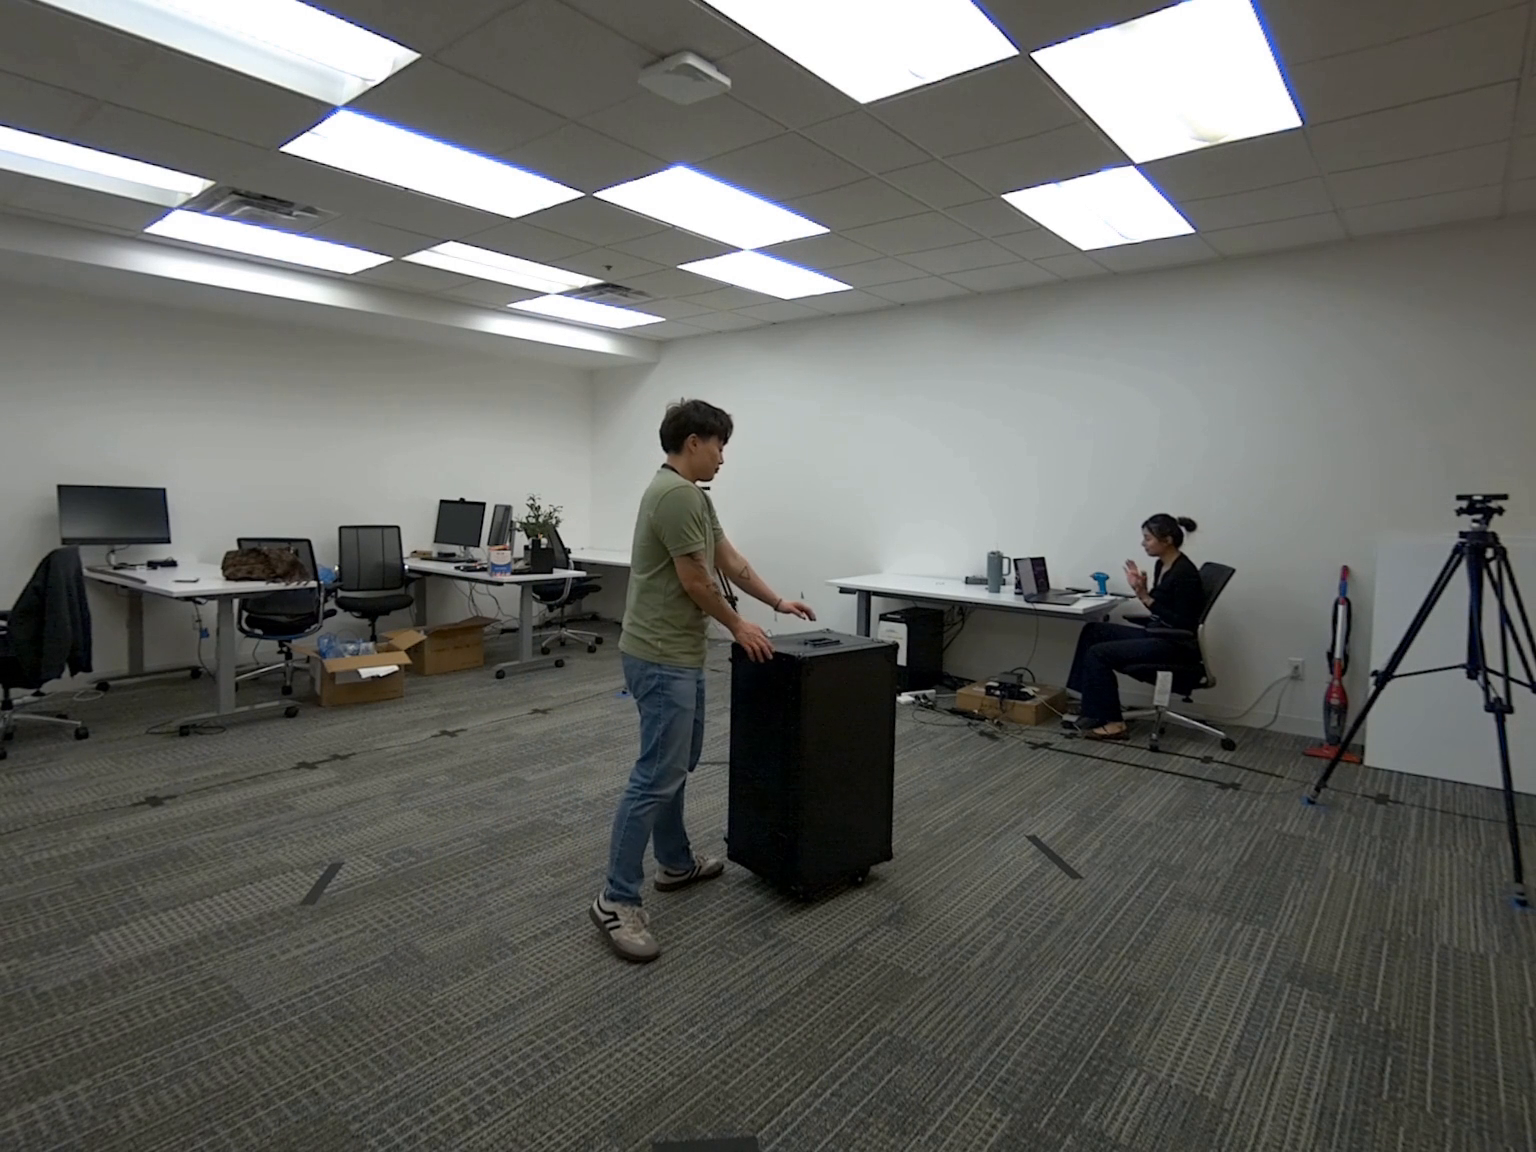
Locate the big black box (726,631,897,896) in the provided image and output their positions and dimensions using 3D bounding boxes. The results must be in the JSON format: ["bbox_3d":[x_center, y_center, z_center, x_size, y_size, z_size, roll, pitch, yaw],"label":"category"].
[{"bbox_3d":[0.142,0.657,3.029,0.506,0.859,0.409,-3,4,-41],"label":"big black box"}]
